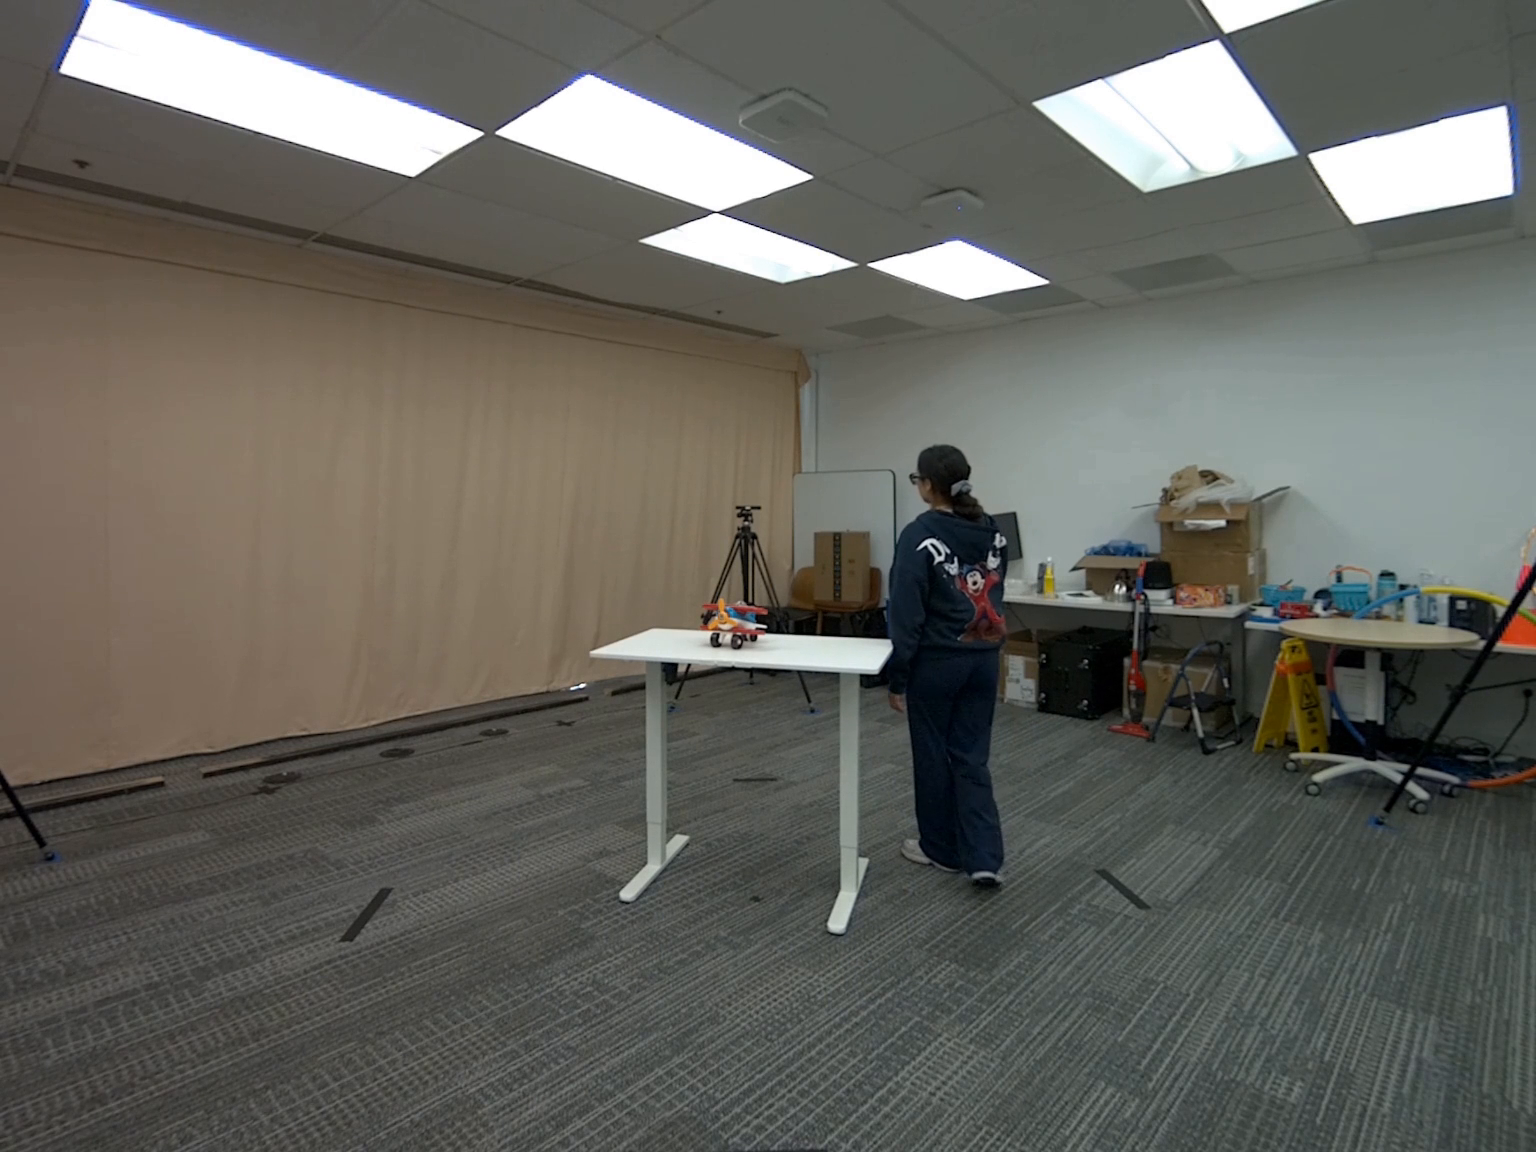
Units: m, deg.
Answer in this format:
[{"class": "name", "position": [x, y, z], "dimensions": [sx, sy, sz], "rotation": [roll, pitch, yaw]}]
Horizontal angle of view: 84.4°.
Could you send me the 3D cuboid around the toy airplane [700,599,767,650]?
[{"class": "toy airplane", "position": [-0.113, 0.180, 3.110], "dimensions": [0.251, 0.156, 0.260], "rotation": [0, 5, 0]}]
